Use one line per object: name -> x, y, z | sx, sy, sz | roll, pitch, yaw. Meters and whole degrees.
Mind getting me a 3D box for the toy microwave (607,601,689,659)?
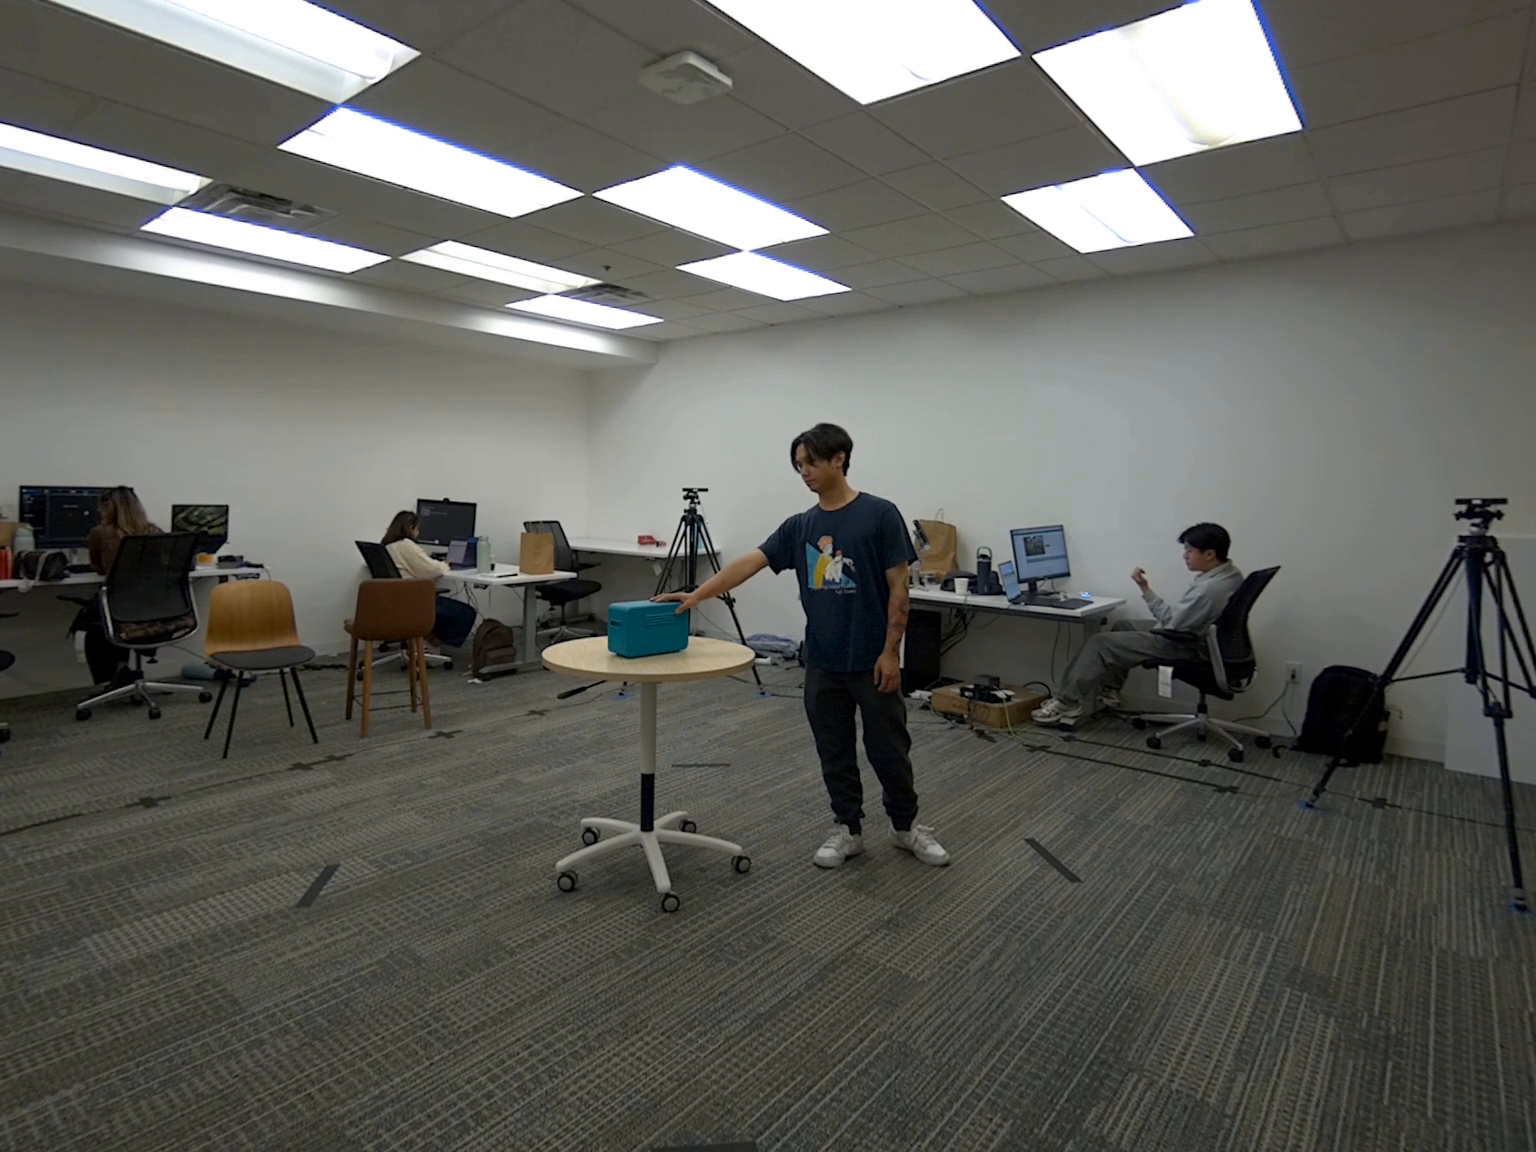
toy microwave -> -0.449, 0.183, 3.071 | 0.277, 0.184, 0.157 | -2, 5, -42
